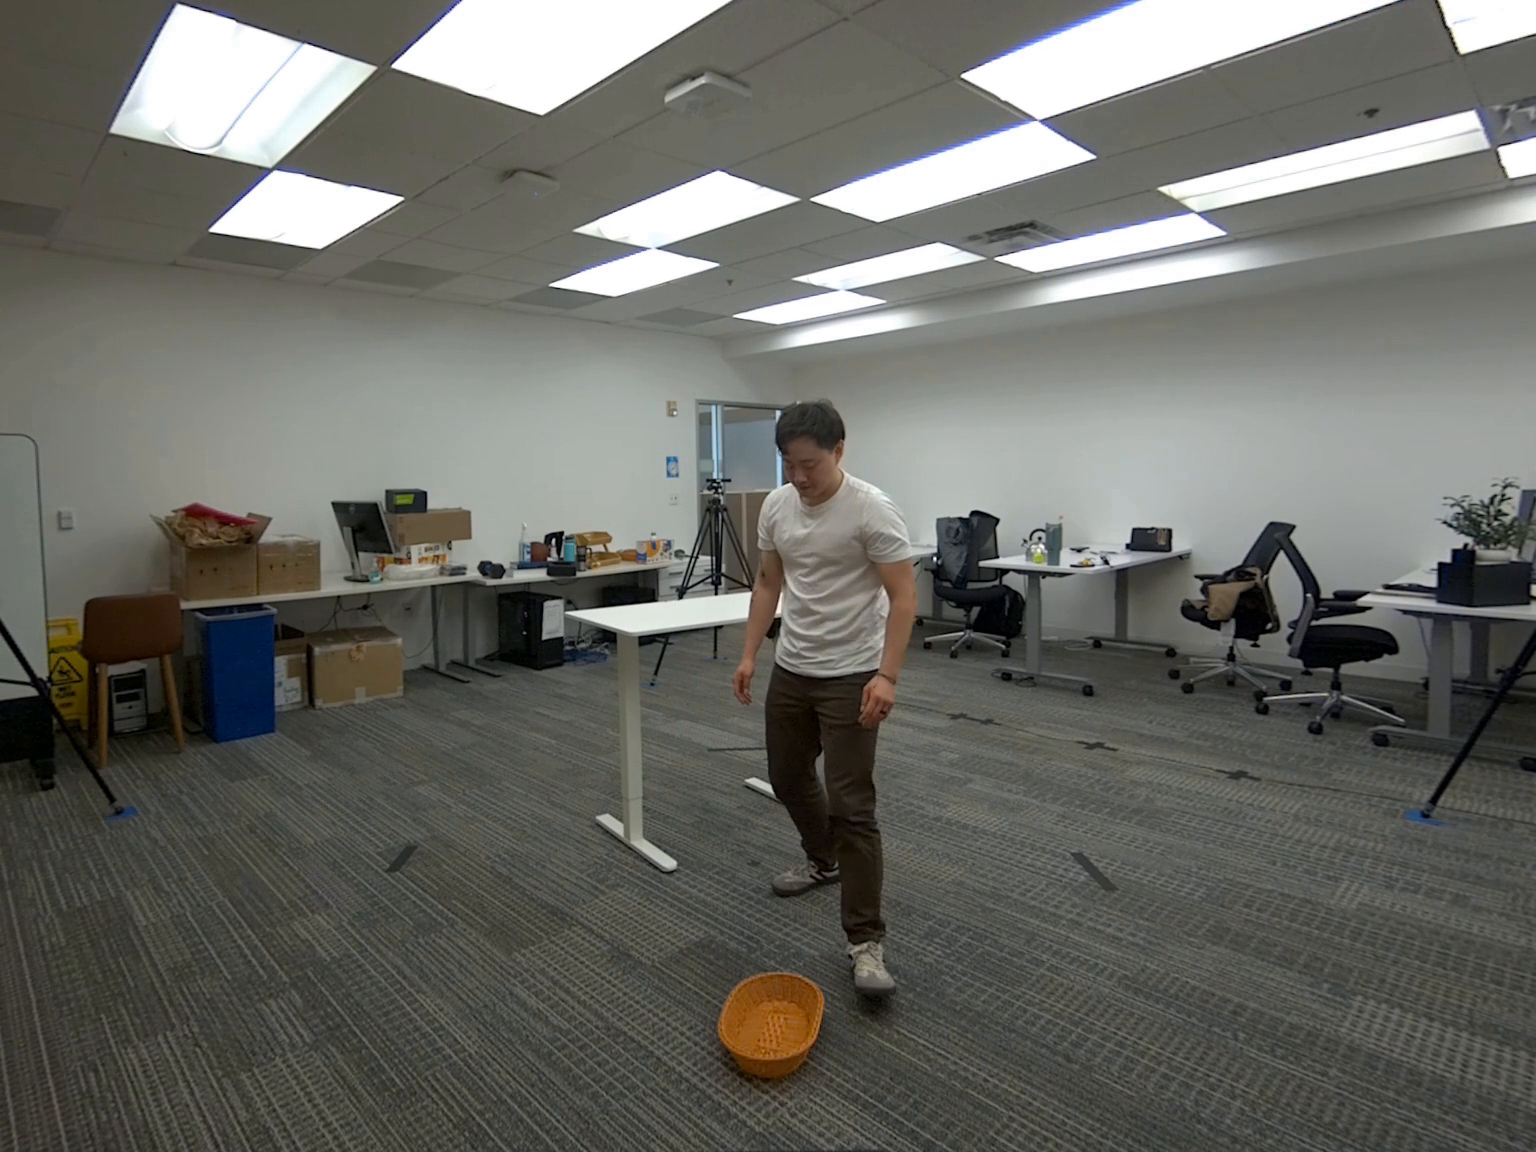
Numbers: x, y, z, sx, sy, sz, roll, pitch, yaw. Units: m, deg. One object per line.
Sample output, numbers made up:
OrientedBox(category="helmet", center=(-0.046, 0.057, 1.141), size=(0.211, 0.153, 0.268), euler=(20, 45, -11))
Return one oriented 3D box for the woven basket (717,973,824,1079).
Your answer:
OrientedBox(category="woven basket", center=(0.014, 1.121, 2.133), size=(0.256, 0.073, 0.348), euler=(0, 7, 13))
